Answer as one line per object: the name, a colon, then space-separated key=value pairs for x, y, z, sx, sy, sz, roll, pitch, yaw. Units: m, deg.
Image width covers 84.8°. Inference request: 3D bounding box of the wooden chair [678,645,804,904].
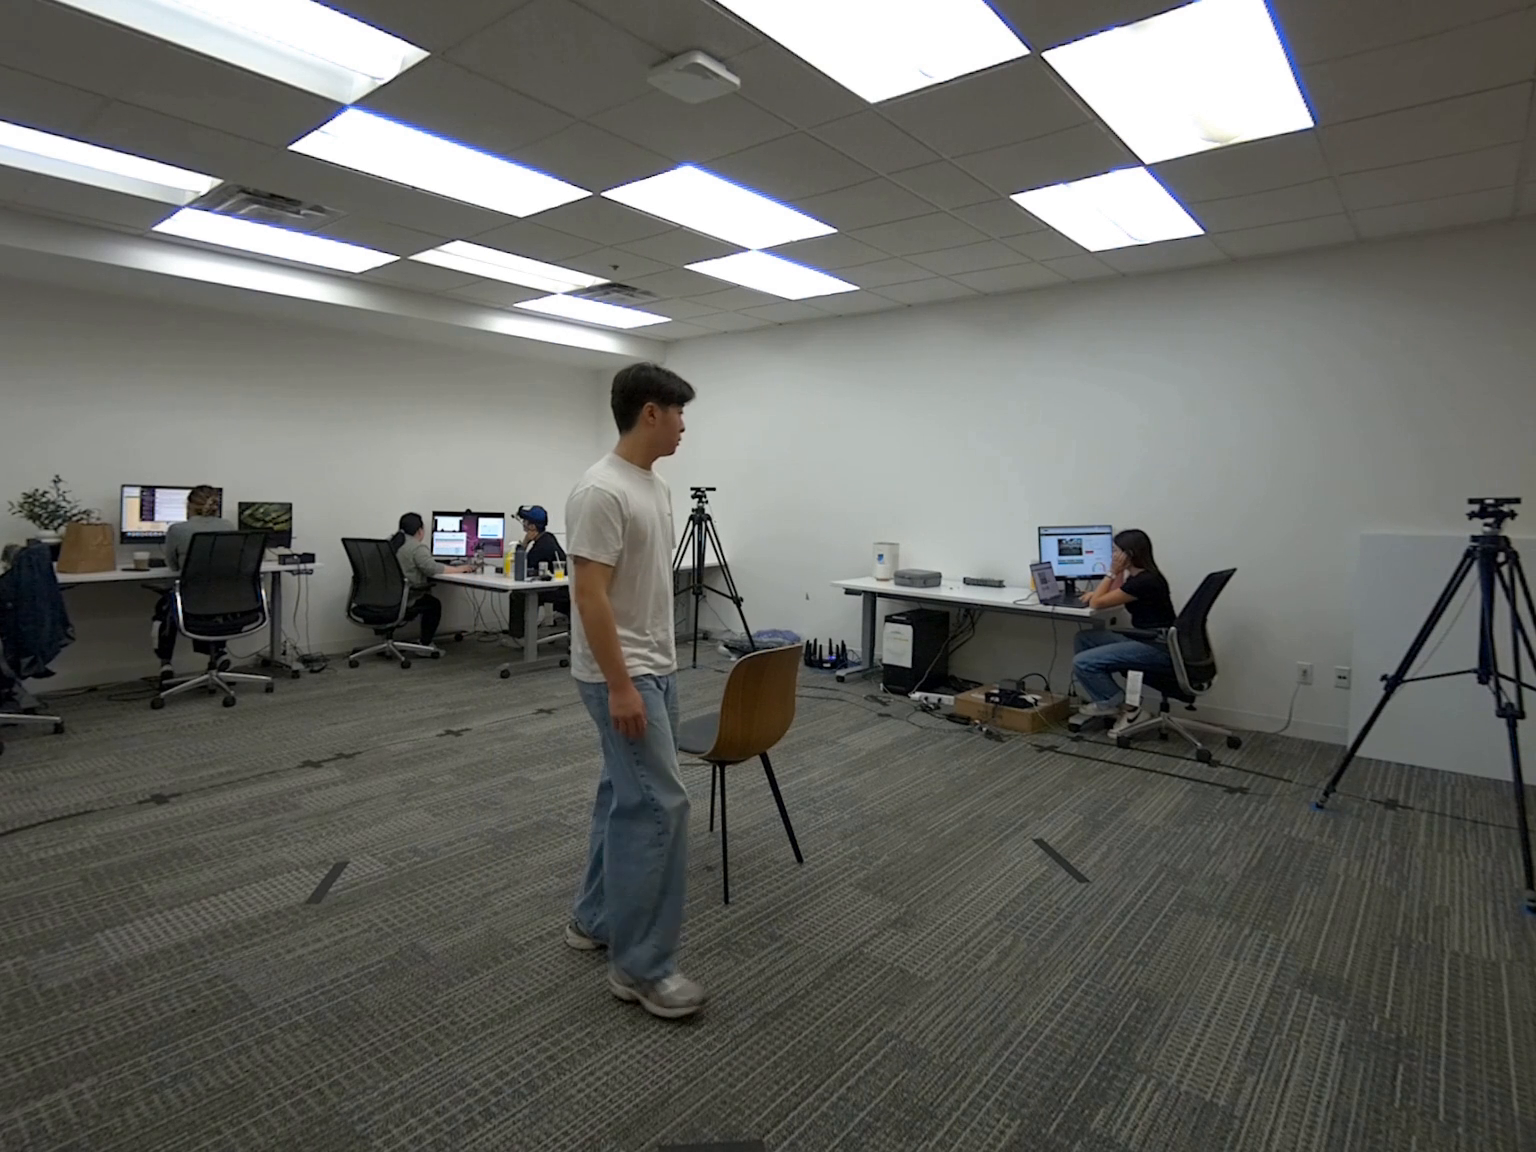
wooden chair: x=-0.187 y=0.636 z=3.128 sx=0.542 sy=0.873 sz=0.464 roll=10 pitch=7 yaw=38
